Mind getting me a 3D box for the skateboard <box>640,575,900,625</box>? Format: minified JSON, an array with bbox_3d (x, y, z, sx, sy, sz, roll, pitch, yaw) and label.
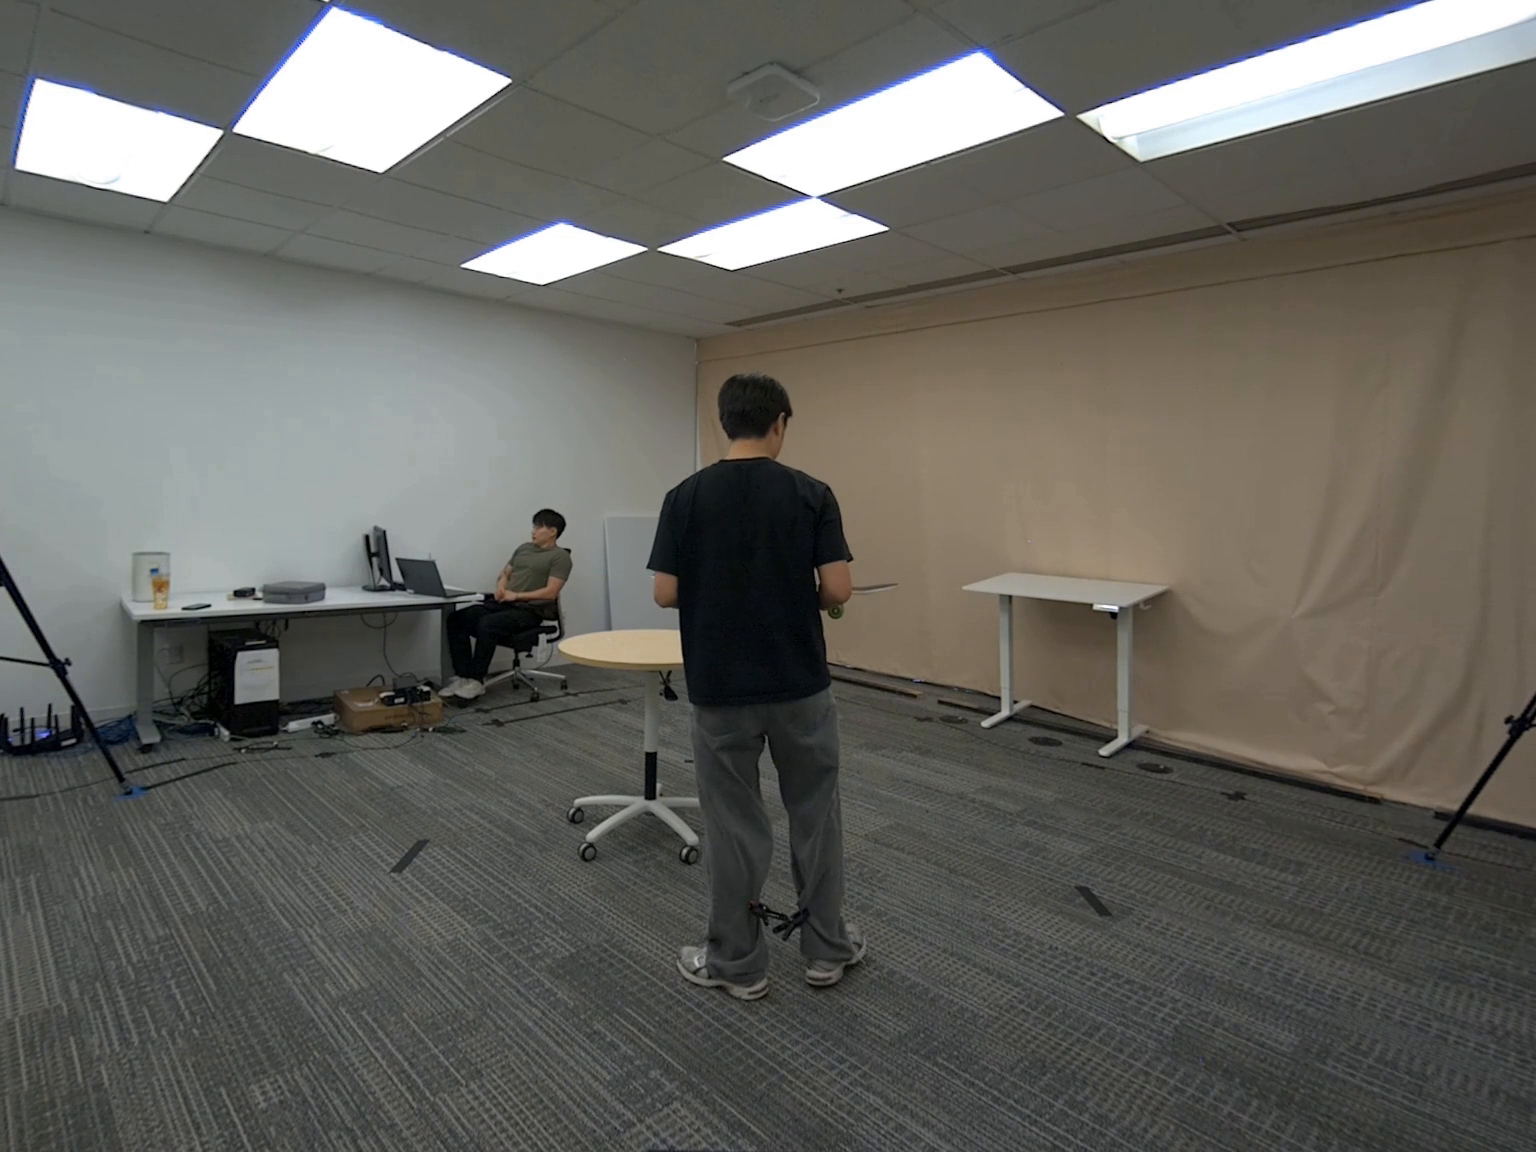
[{"bbox_3d":[0.006,0.069,2.666,0.790,0.110,0.192,2,1,7],"label":"skateboard"}]
